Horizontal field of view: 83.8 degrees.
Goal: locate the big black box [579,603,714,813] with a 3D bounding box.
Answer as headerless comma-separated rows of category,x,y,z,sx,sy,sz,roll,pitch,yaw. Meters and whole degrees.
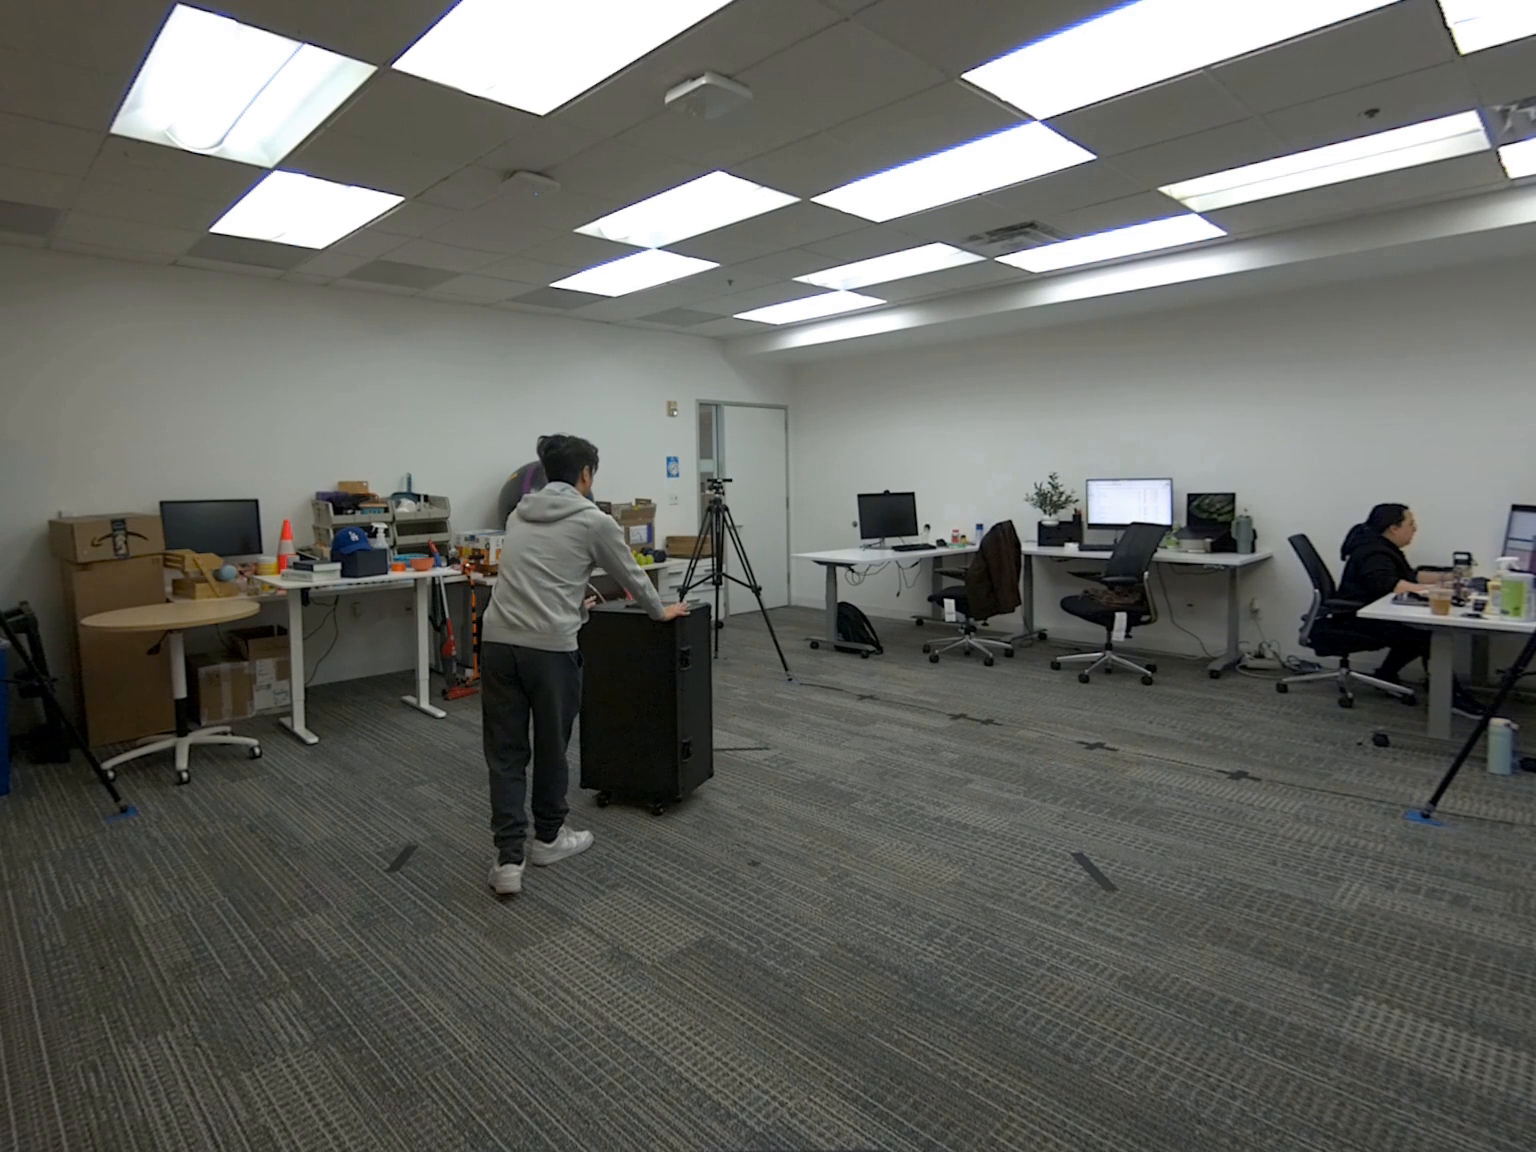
big black box,-0.534,0.553,3.768,0.533,0.859,0.388,1,3,24
